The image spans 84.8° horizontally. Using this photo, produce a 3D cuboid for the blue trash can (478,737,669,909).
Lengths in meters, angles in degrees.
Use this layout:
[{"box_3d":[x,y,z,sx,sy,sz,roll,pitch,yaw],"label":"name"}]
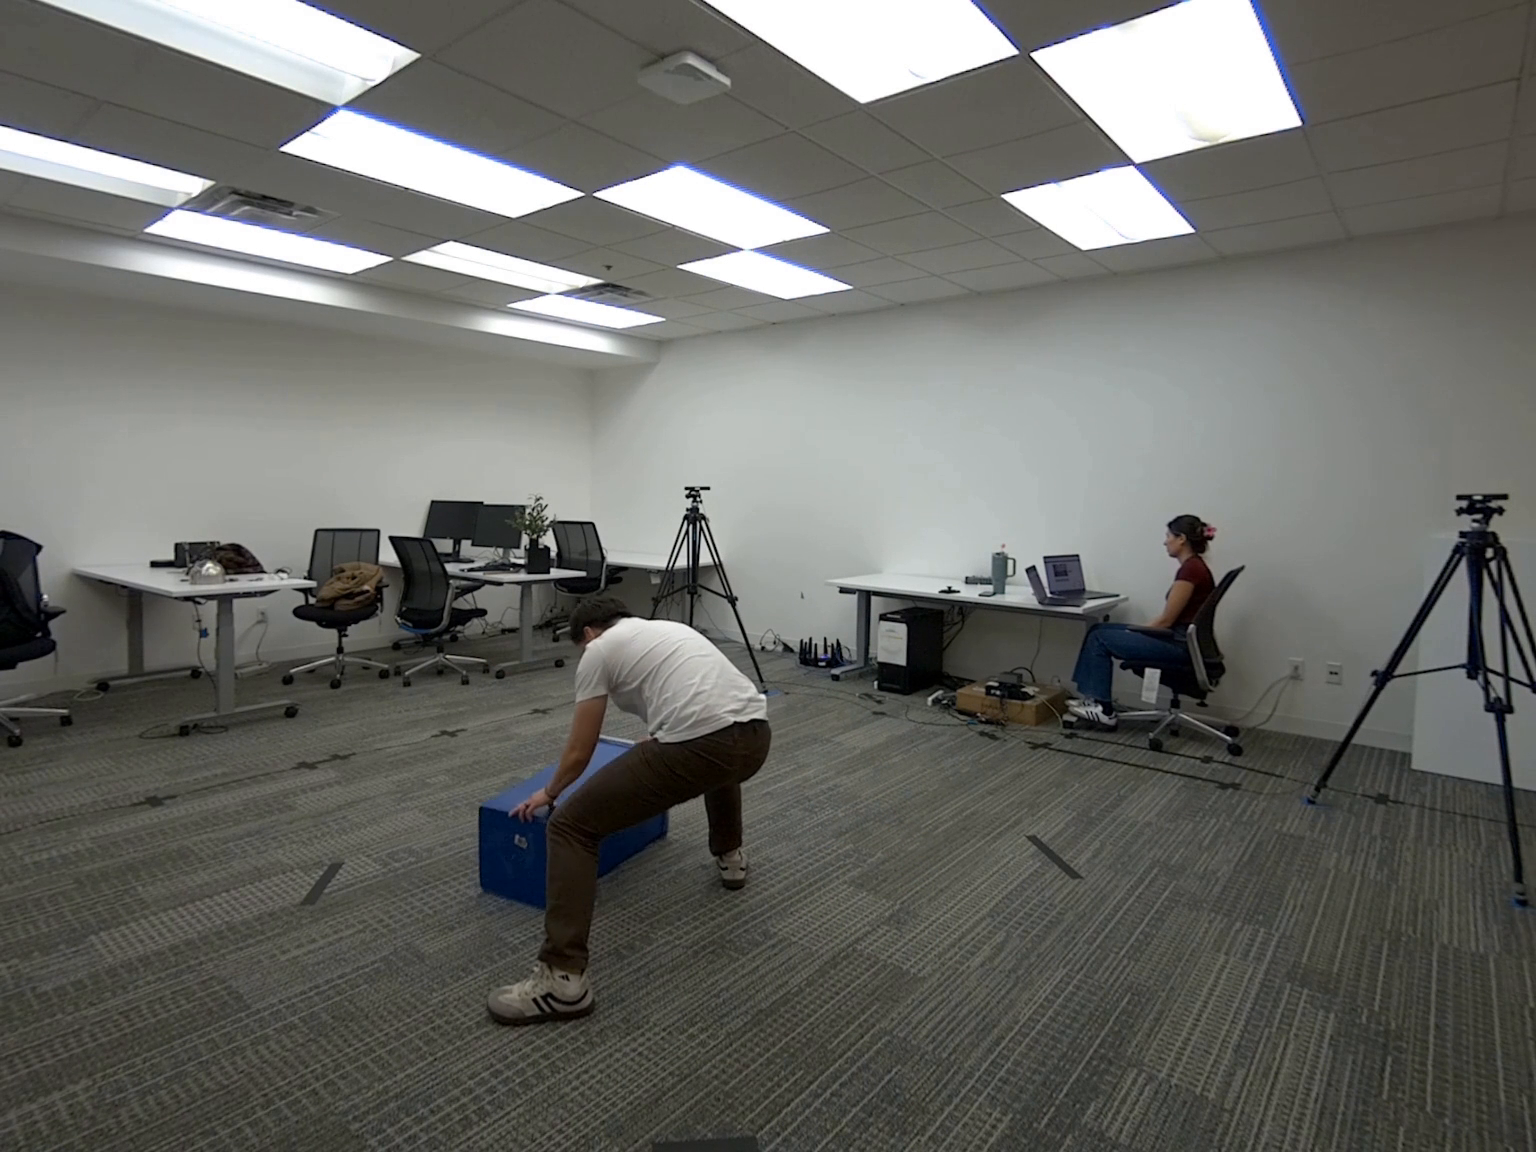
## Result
[{"box_3d":[-0.709,0.886,3.137,0.384,0.376,0.699,4,9,25],"label":"blue trash can"}]
